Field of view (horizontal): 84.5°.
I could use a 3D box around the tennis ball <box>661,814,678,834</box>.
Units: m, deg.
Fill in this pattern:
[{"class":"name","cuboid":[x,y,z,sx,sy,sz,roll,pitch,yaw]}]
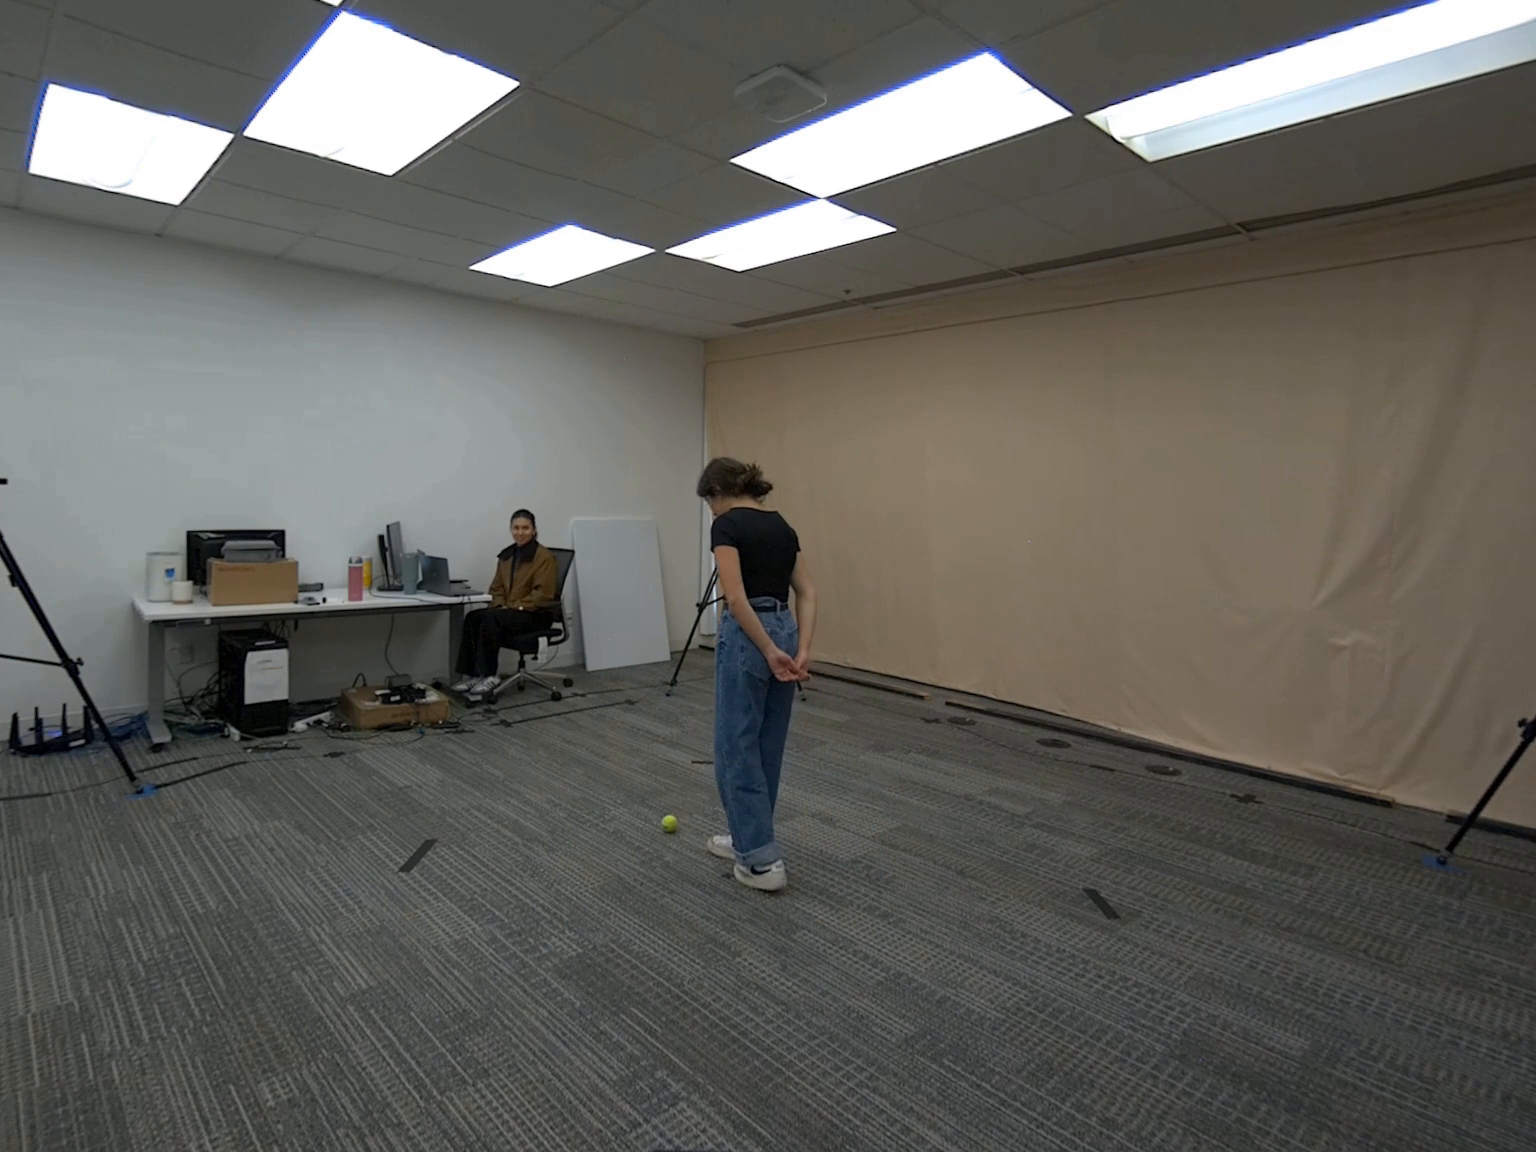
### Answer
[{"class":"tennis ball","cuboid":[-0.424,1.011,3.505,0.066,0.066,0.067,1,4,-1]}]
